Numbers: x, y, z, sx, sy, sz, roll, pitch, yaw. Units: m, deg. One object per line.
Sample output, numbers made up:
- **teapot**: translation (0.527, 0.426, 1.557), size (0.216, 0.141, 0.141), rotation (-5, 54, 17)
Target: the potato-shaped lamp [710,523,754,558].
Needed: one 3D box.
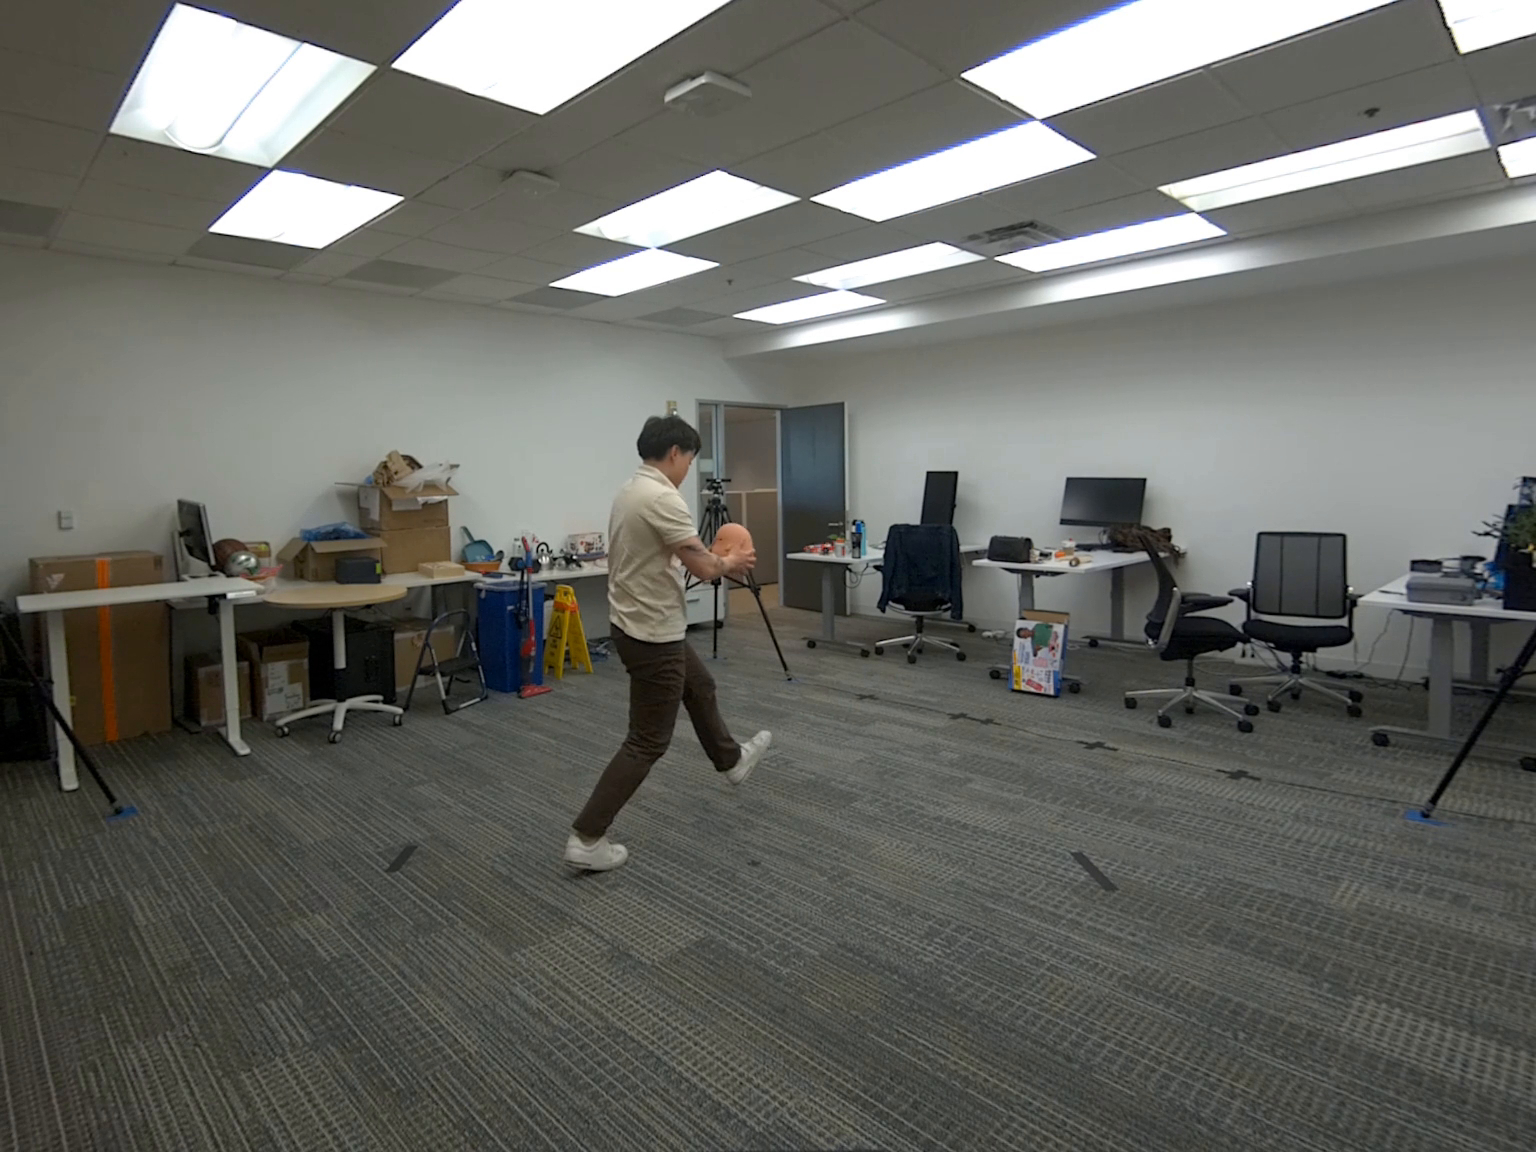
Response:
- **potato-shaped lamp**: translation (-0.139, -0.089, 3.361), size (0.167, 0.198, 0.169), rotation (-3, 4, -41)
